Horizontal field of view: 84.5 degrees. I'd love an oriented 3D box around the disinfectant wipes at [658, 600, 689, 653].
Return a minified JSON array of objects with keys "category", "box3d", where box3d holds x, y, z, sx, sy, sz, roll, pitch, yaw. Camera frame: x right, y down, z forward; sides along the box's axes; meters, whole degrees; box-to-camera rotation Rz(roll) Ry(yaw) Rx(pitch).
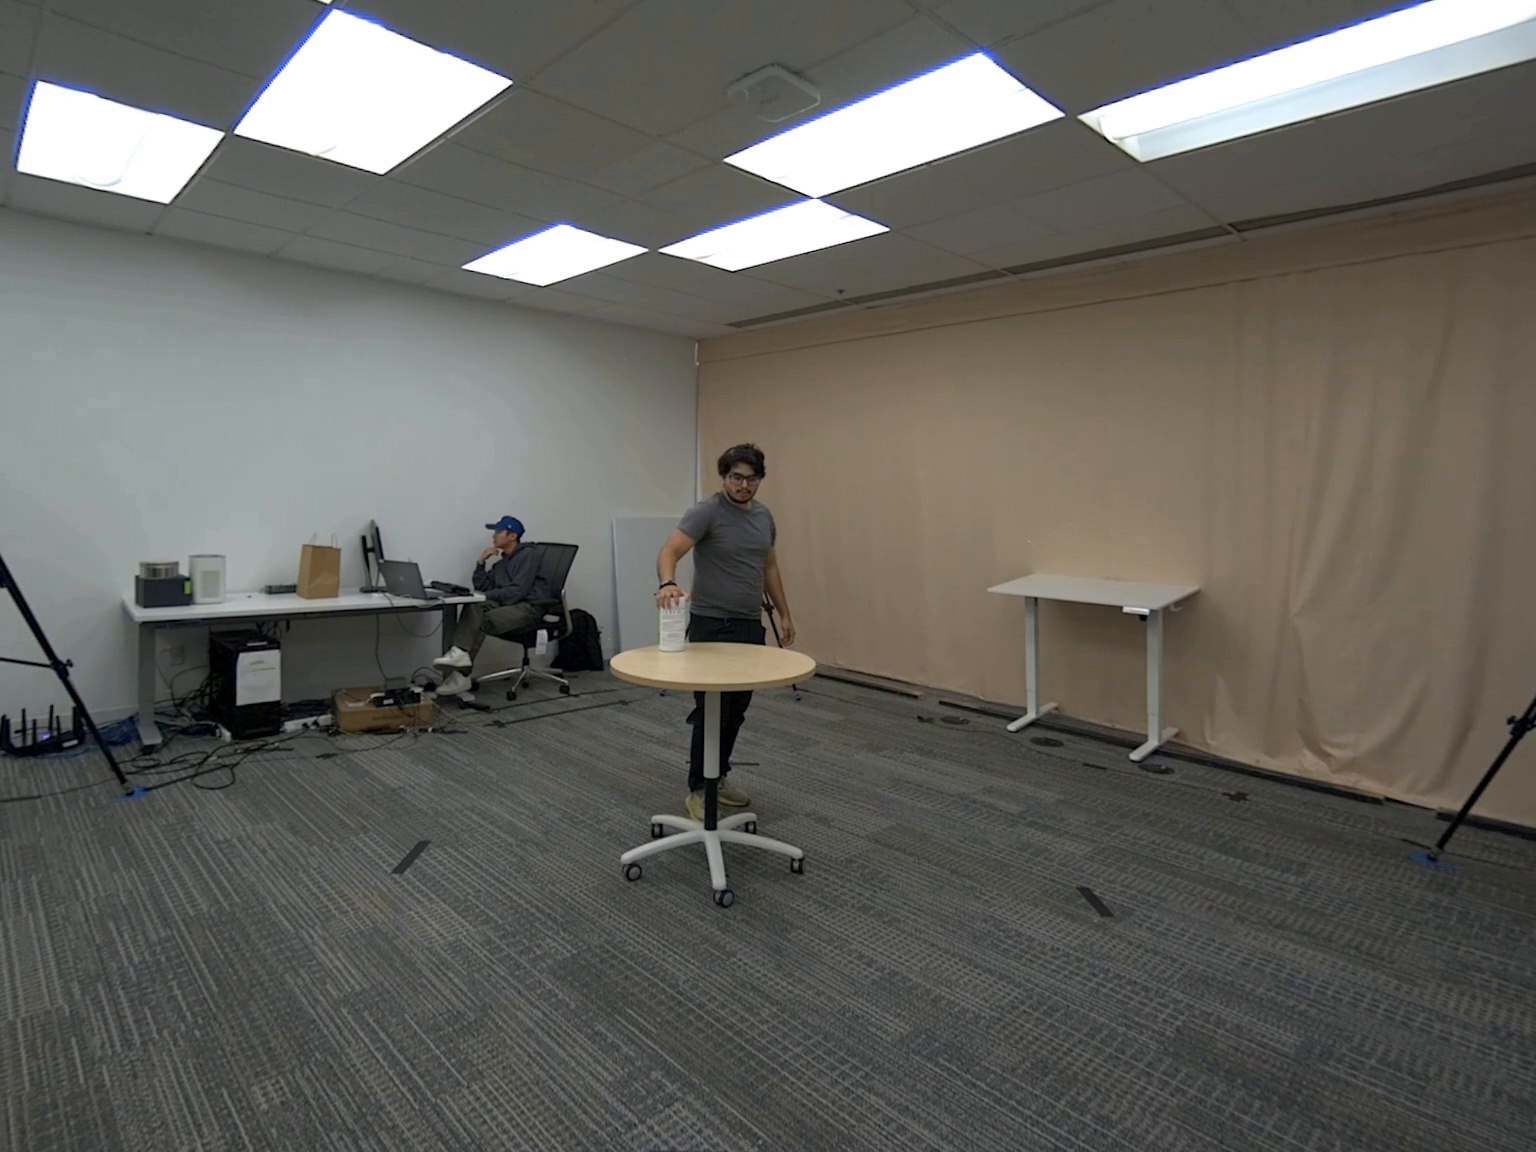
[{"category":"disinfectant wipes","box3d":[-0.392,0.192,3.363,0.118,0.217,0.118,0,3,-1]}]
